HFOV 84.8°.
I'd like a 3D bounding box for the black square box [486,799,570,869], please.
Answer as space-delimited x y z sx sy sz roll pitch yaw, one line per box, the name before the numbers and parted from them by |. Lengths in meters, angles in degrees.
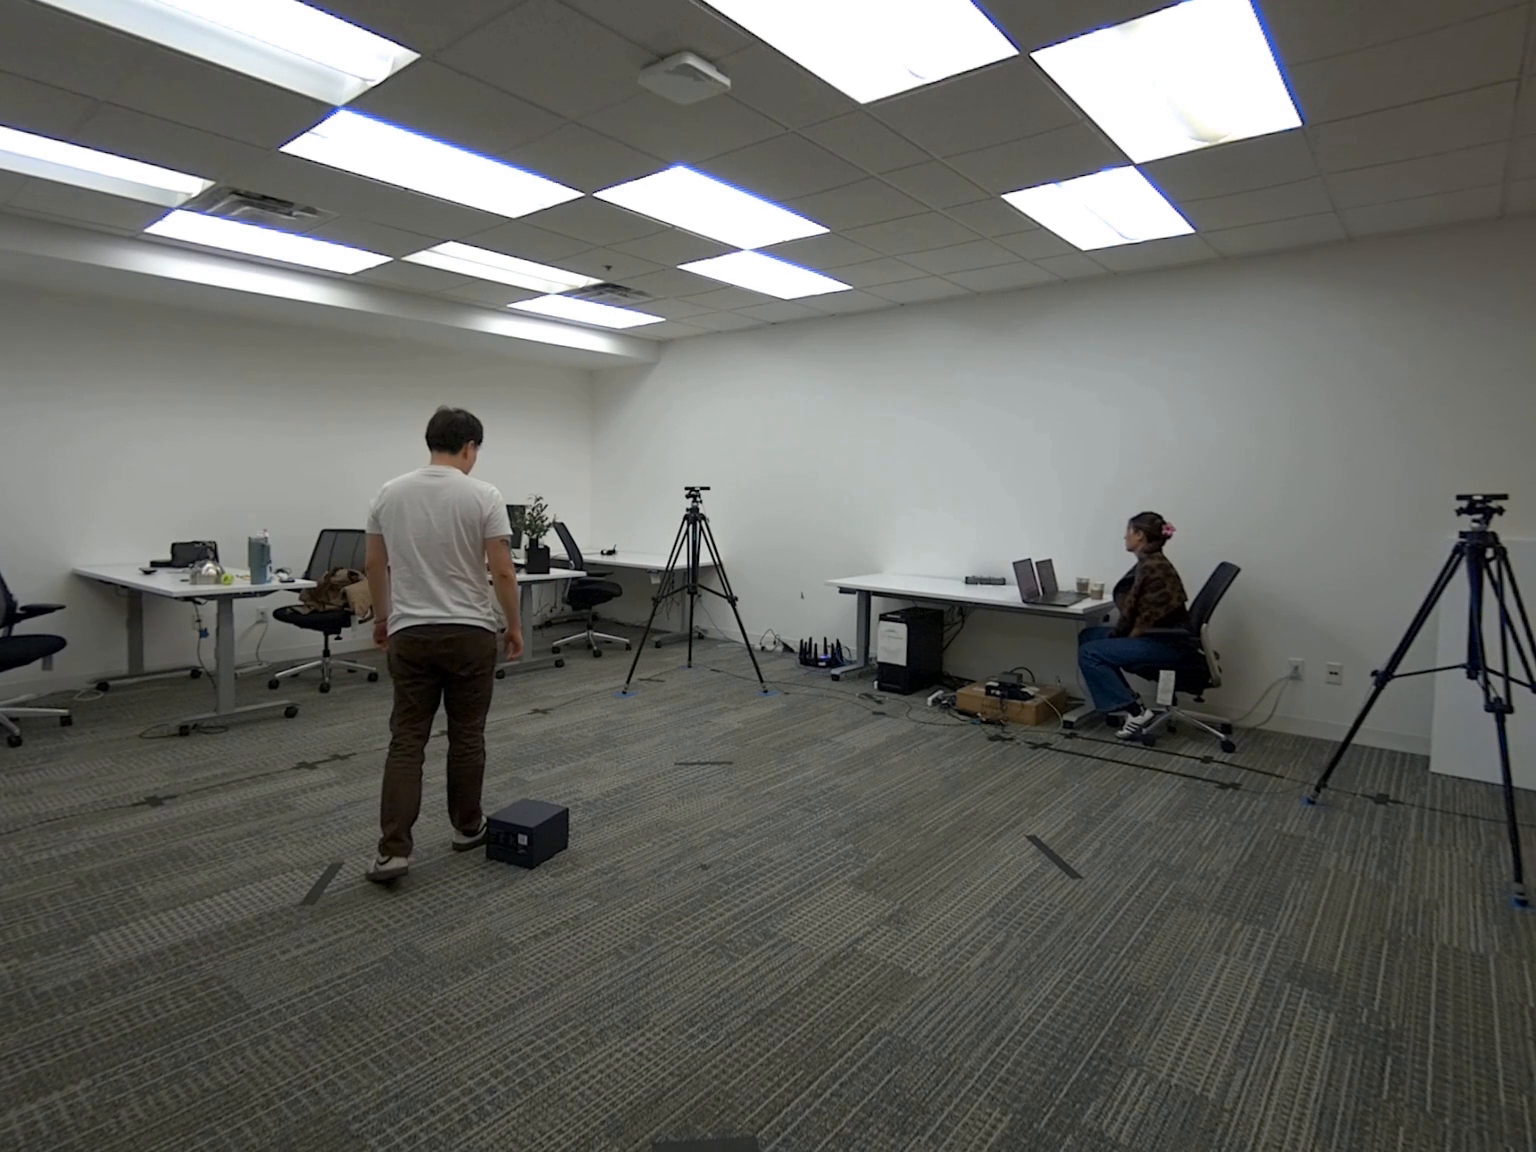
black square box | -0.920 0.966 3.207 0.222 0.155 0.223 3 5 23
